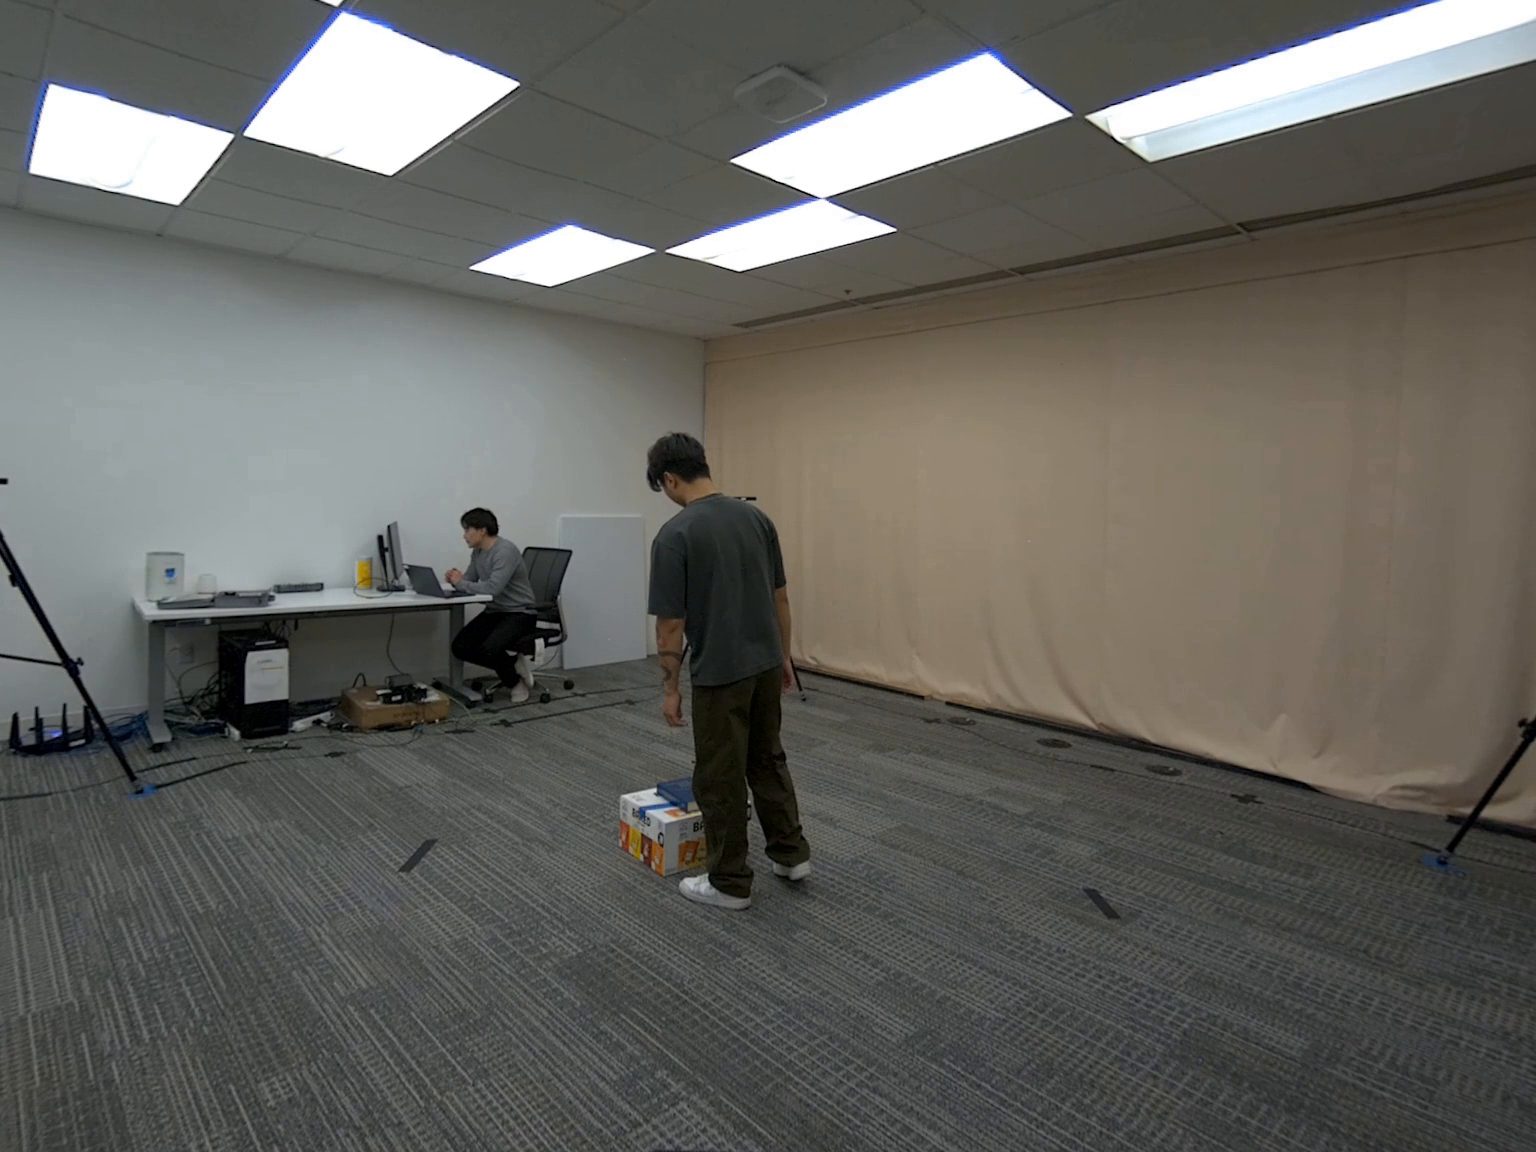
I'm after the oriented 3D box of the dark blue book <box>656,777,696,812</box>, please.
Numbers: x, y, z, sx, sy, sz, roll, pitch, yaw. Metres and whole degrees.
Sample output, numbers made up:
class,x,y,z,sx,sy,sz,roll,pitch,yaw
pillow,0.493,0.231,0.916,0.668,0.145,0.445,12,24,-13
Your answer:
class,x,y,z,sx,sy,sz,roll,pitch,yaw
dark blue book,-0.322,0.871,3.340,0.160,0.045,0.251,-2,6,-35
